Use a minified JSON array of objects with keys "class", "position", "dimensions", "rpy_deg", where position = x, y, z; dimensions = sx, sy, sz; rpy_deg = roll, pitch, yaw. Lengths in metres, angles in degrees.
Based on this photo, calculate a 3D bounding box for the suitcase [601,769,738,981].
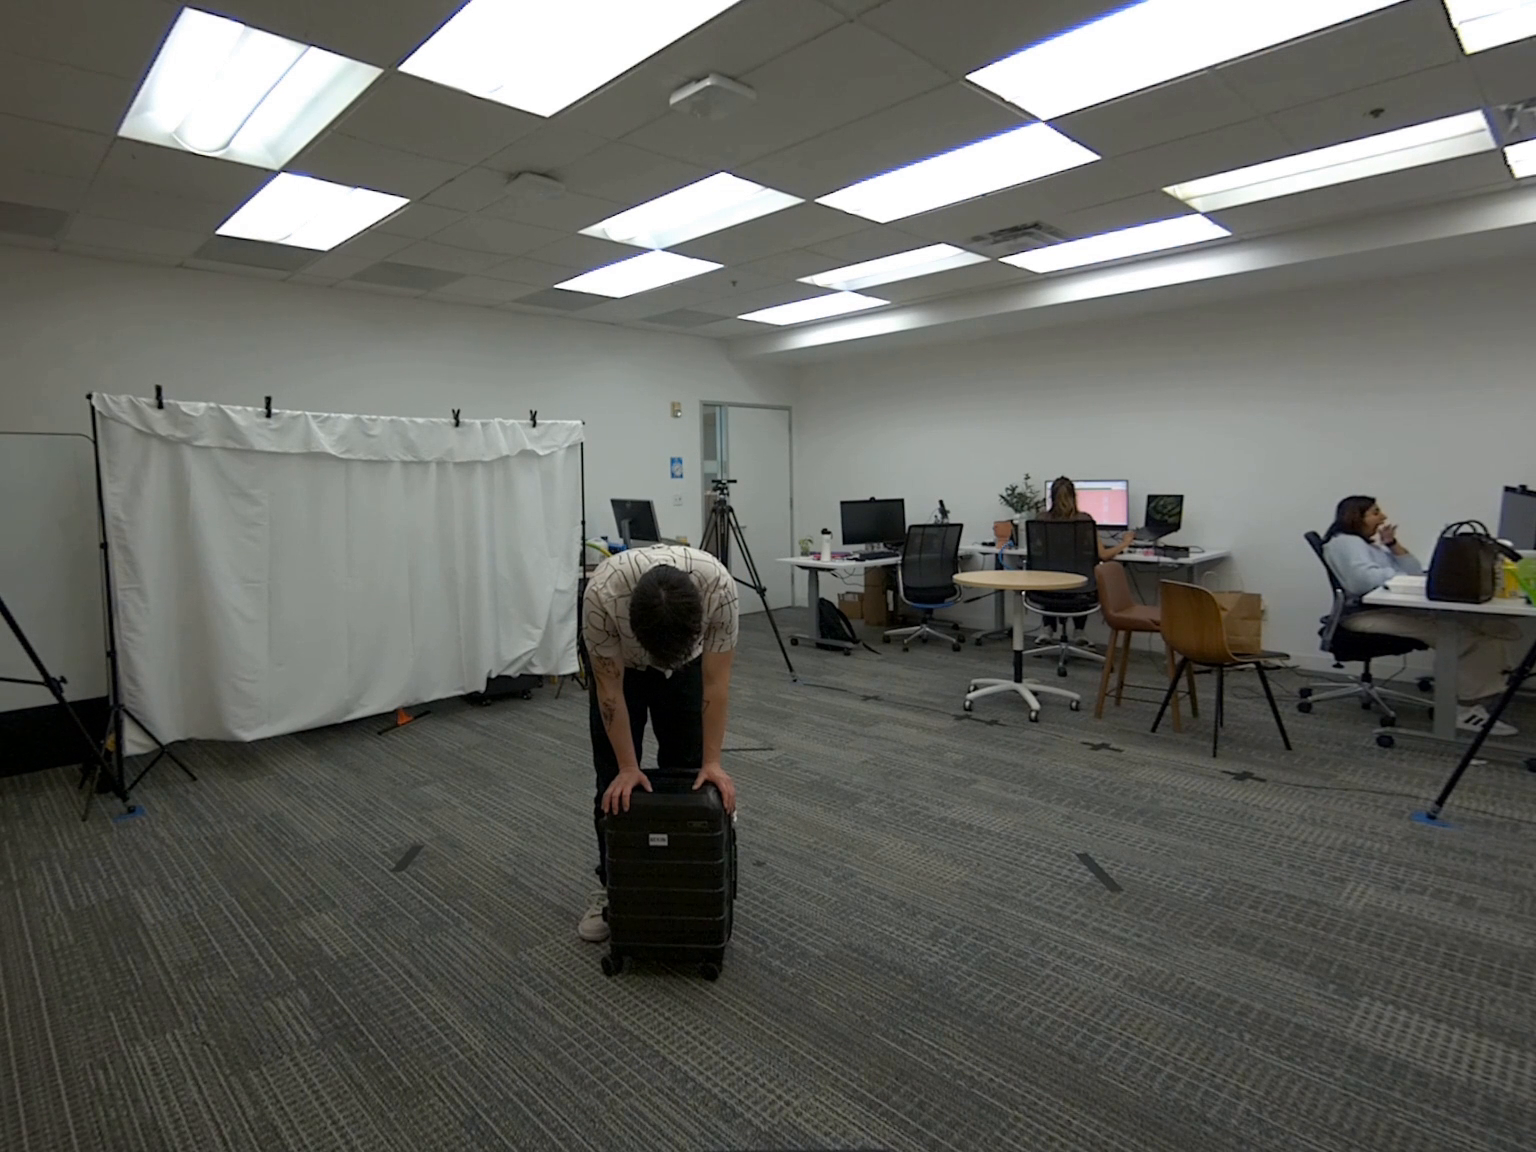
[{"class":"suitcase","position":[-0.280,0.851,2.493],"dimensions":[0.377,0.546,0.248],"rpy_deg":[0,6,4]}]
